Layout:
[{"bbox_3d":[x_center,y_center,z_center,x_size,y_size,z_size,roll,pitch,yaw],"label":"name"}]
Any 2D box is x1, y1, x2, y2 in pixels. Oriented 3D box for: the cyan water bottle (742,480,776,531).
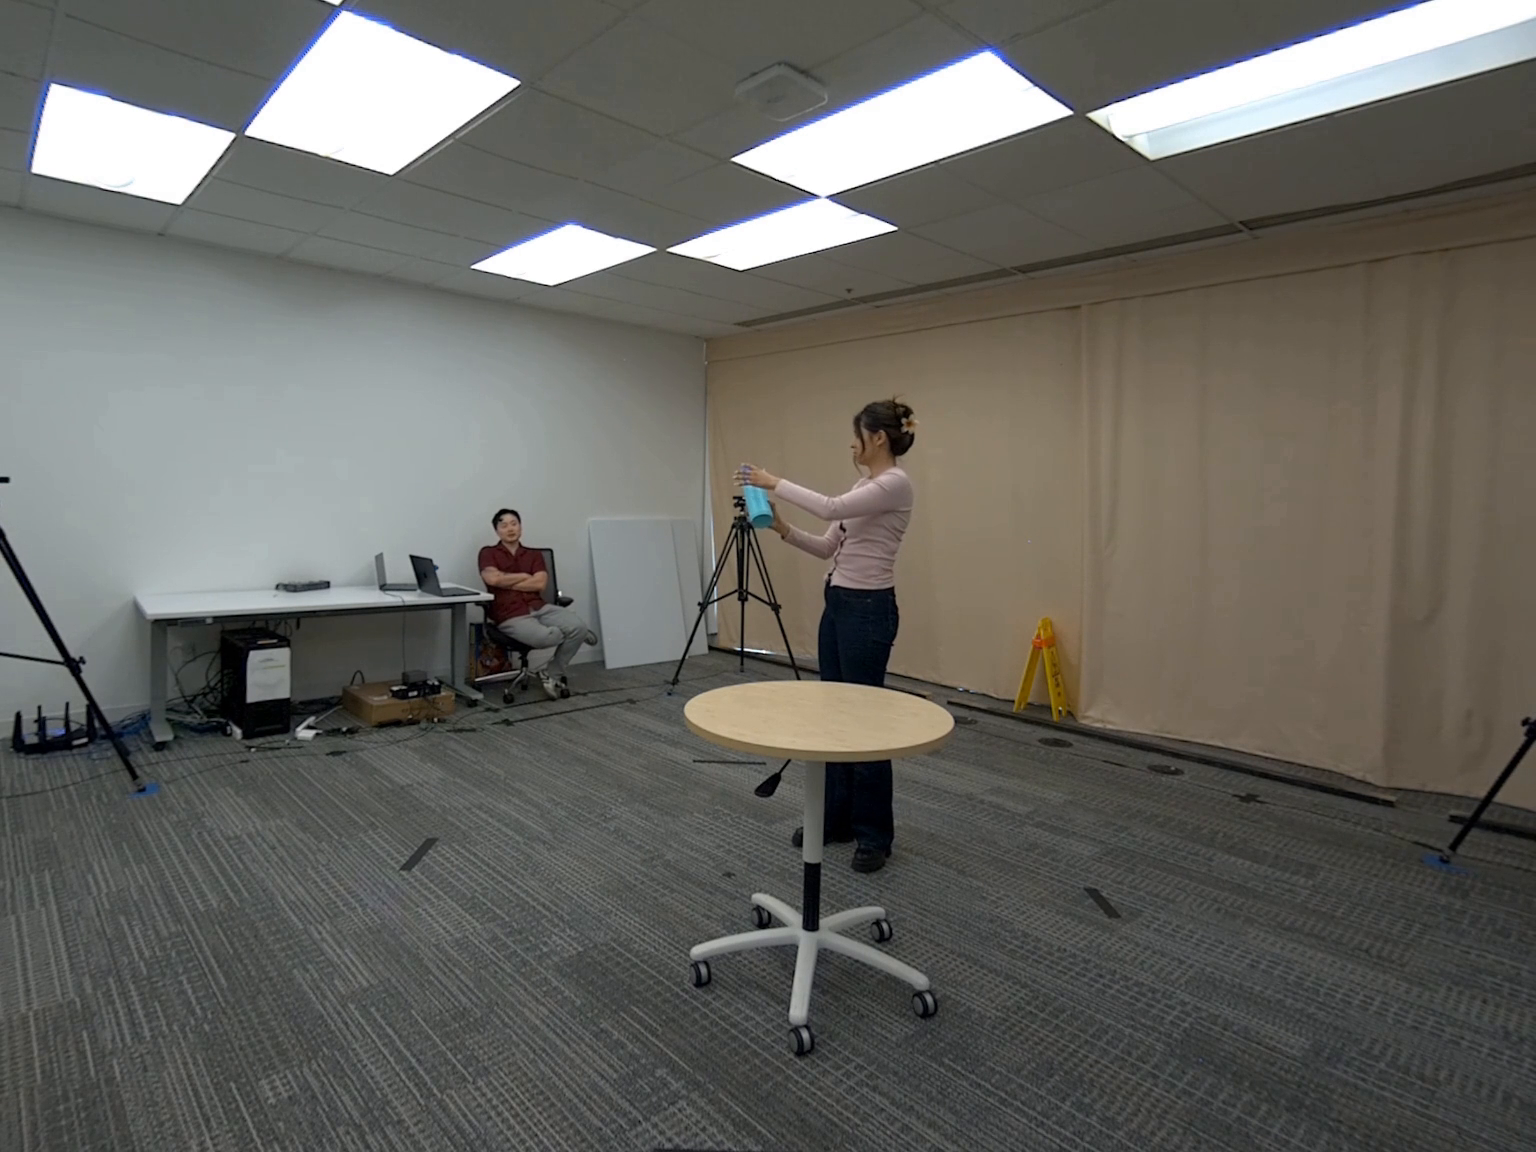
[{"bbox_3d":[-0.049,-0.318,3.311,0.092,0.290,0.090,-8,-33,-7],"label":"cyan water bottle"}]
